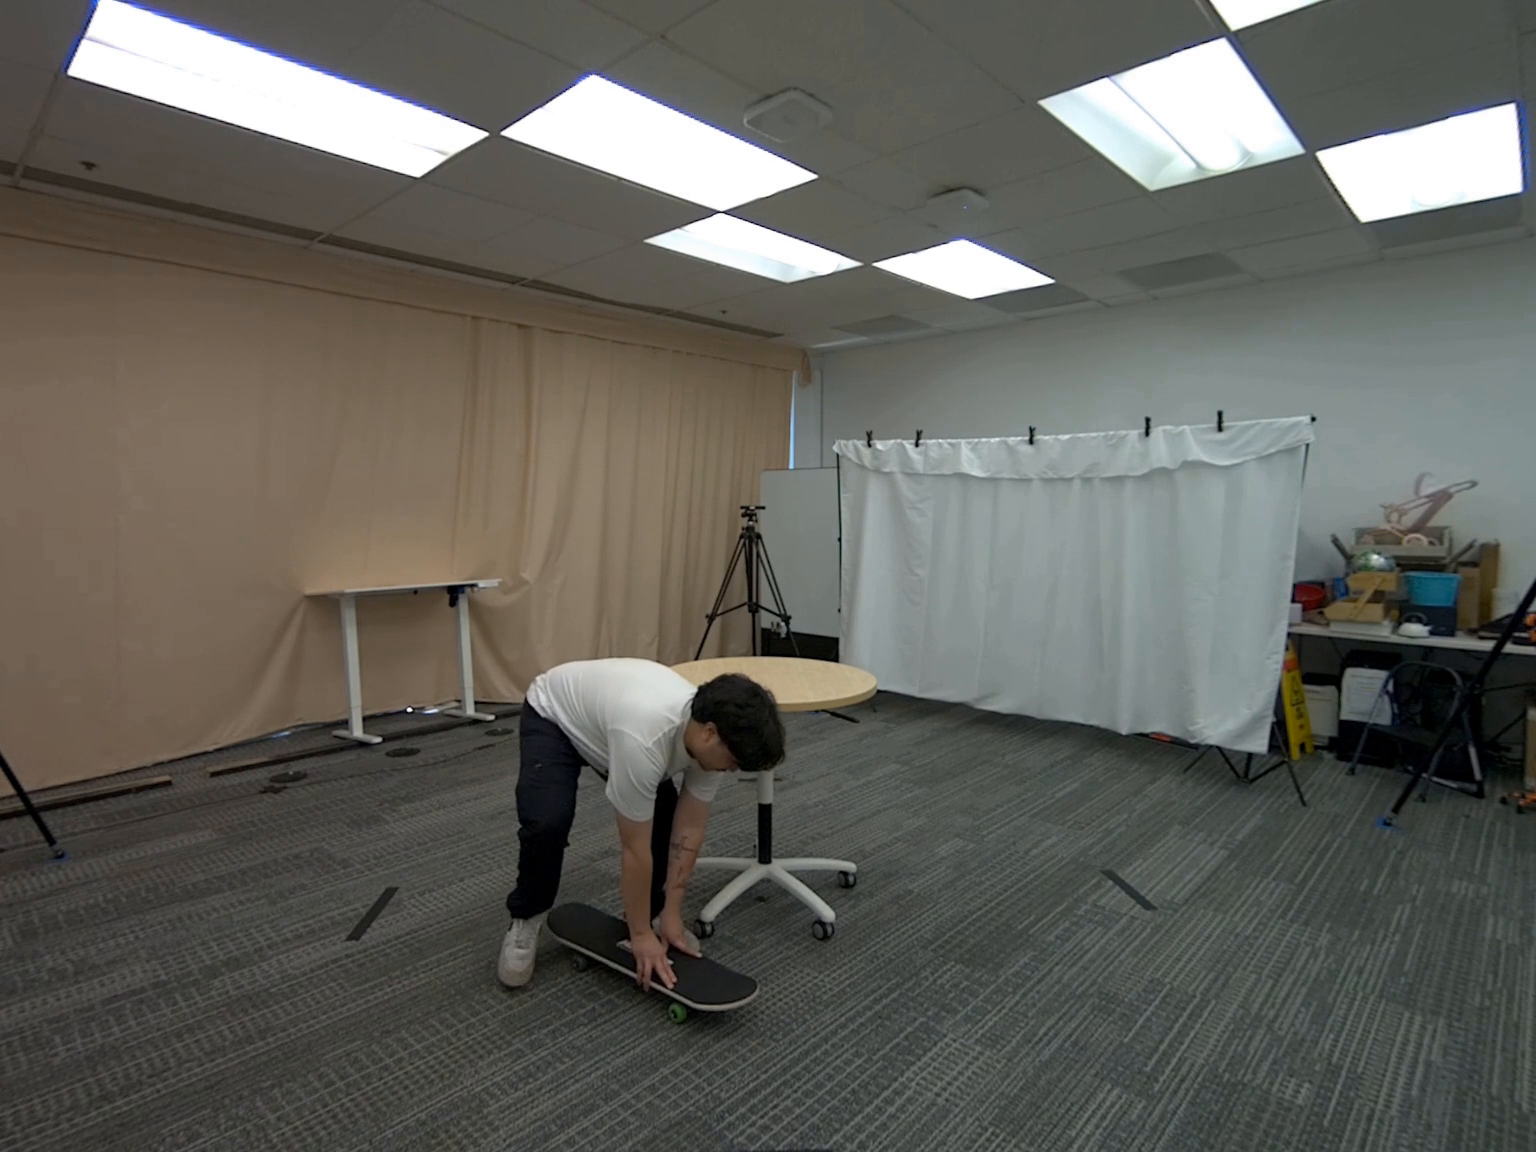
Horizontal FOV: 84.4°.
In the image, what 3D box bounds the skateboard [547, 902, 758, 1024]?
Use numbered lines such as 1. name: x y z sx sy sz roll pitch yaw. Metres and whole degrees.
1. skateboard: -0.361 1.142 2.452 0.811 0.110 0.188 2 6 38
